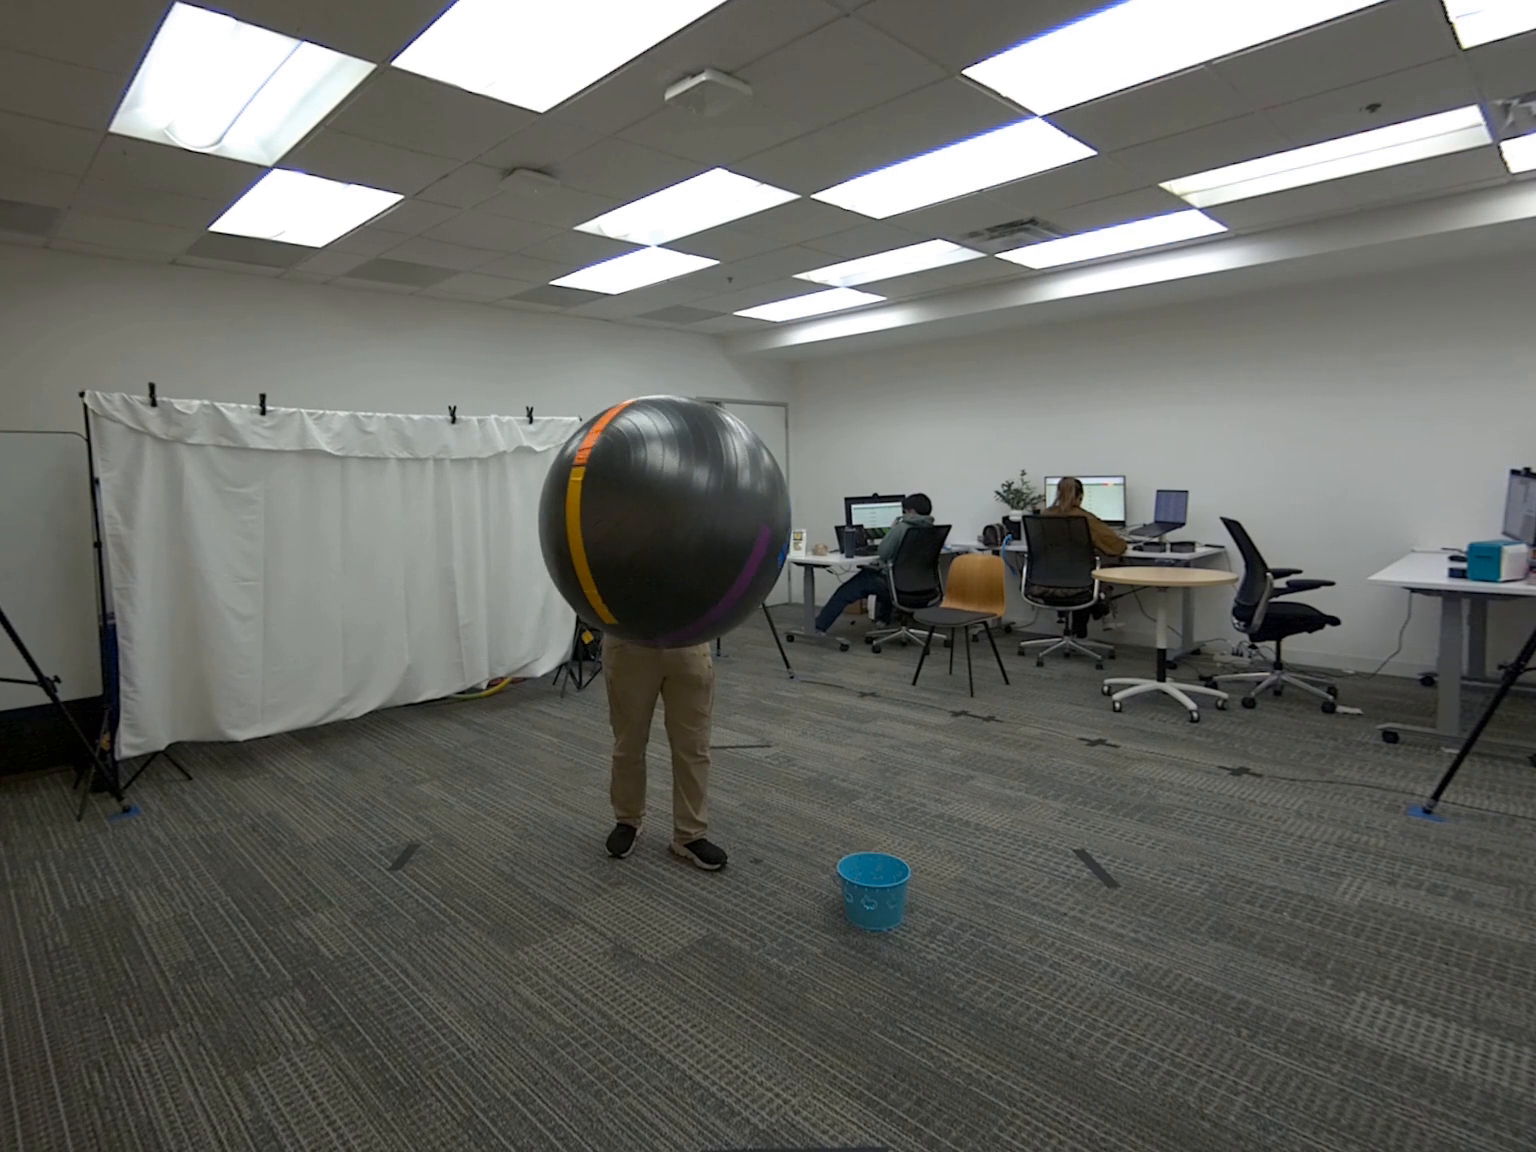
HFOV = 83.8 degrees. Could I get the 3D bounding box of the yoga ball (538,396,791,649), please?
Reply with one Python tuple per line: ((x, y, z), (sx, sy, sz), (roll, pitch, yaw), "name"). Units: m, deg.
((-0.308, -0.160, 2.569), (0.757, 0.755, 0.762), (-1, 5, -2), "yoga ball")
